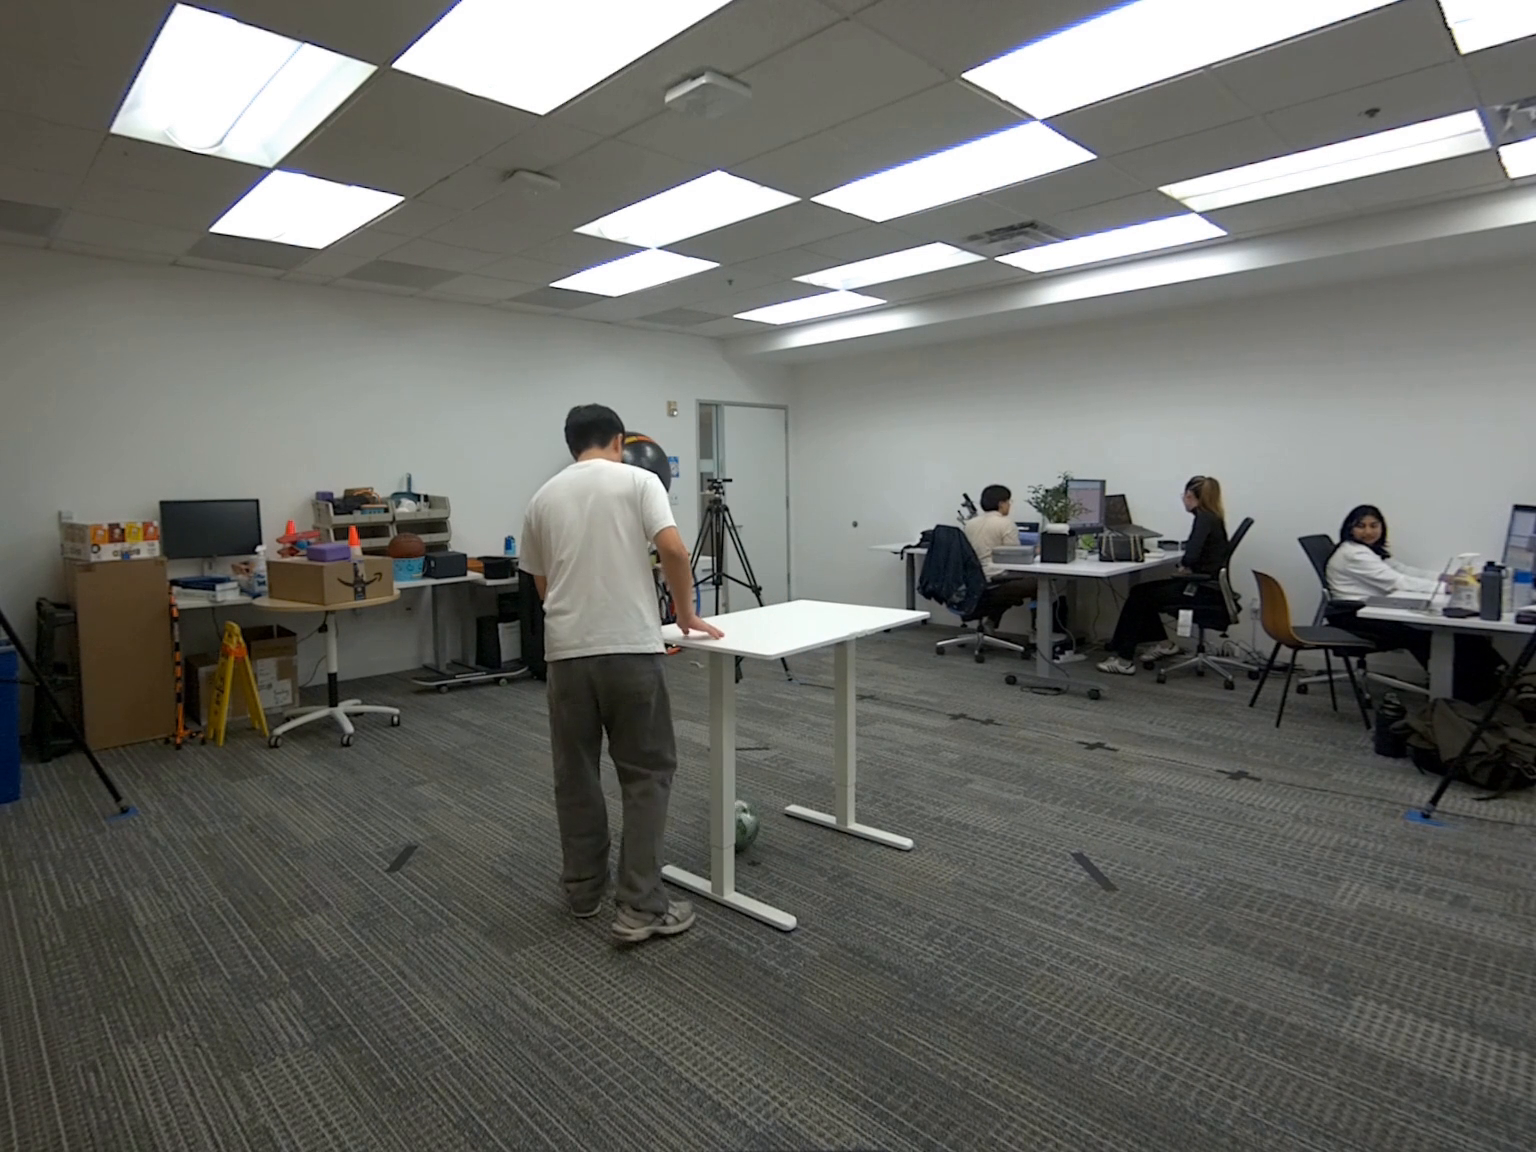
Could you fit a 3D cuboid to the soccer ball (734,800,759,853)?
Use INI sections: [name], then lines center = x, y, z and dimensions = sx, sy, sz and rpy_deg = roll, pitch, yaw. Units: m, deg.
[soccer ball]
center = -0.119, 0.943, 3.238
dimensions = 0.187, 0.187, 0.188
rpy_deg = -1, 5, -2
